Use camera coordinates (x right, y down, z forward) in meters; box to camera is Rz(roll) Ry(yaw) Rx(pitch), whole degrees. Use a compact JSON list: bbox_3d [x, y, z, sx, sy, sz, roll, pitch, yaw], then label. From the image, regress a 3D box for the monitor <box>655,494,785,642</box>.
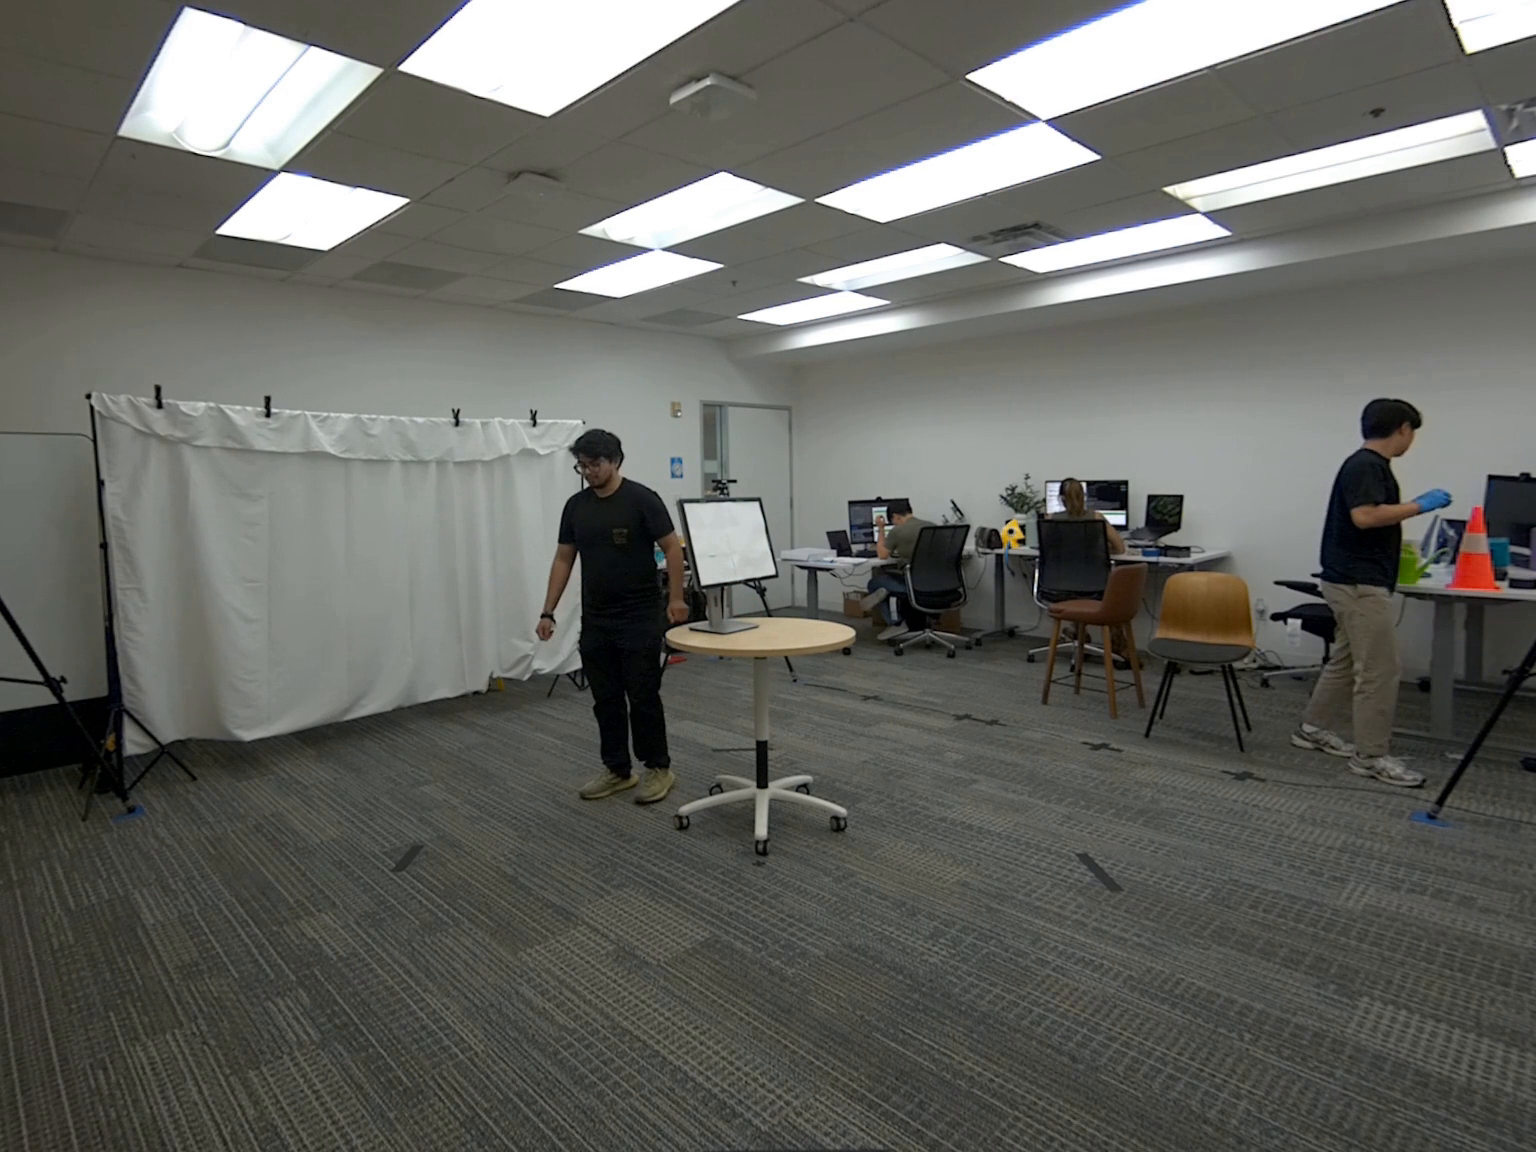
[{"bbox_3d":[-0.204,-0.050,3.568,0.215,0.554,0.551,-7,0,36],"label":"monitor"}]
